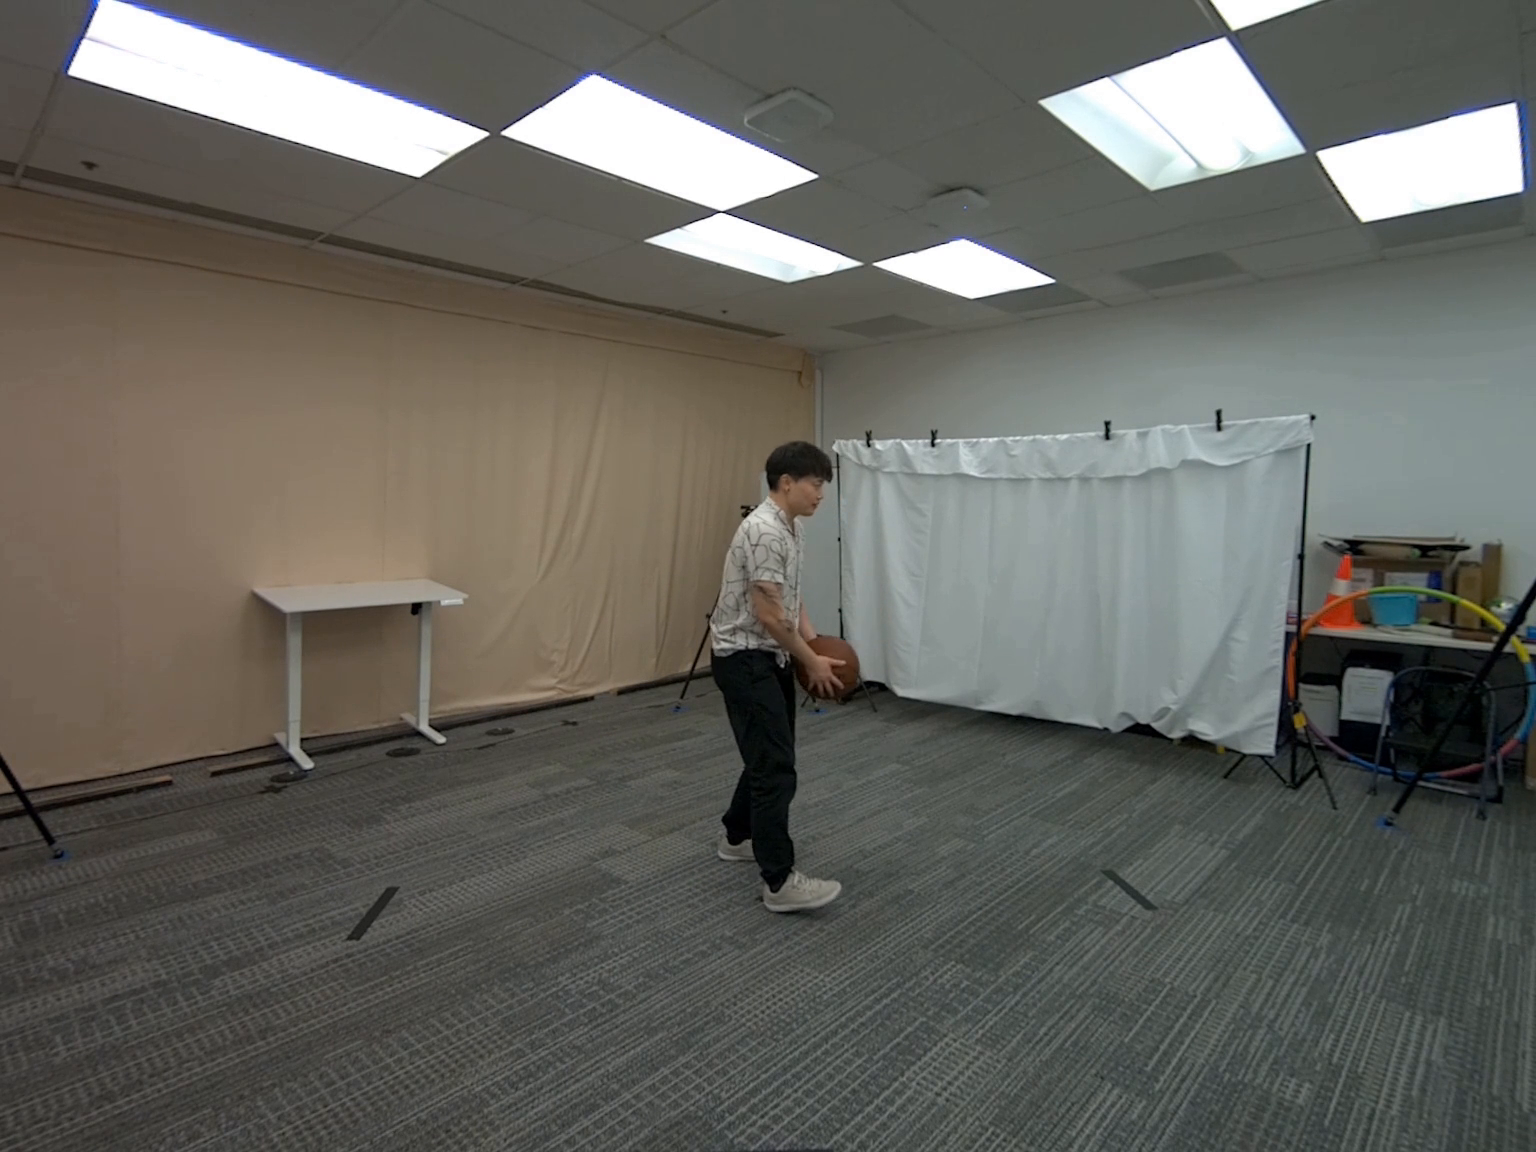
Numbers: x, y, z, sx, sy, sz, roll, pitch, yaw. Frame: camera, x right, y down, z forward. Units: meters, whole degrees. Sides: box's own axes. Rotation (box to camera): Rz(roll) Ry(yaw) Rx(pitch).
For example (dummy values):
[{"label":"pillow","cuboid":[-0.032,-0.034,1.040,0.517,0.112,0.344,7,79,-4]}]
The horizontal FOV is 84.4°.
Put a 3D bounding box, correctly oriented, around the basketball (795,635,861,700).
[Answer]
[{"label":"basketball","cuboid":[0.230,0.315,3.129,0.236,0.235,0.237,0,4,-2]}]
